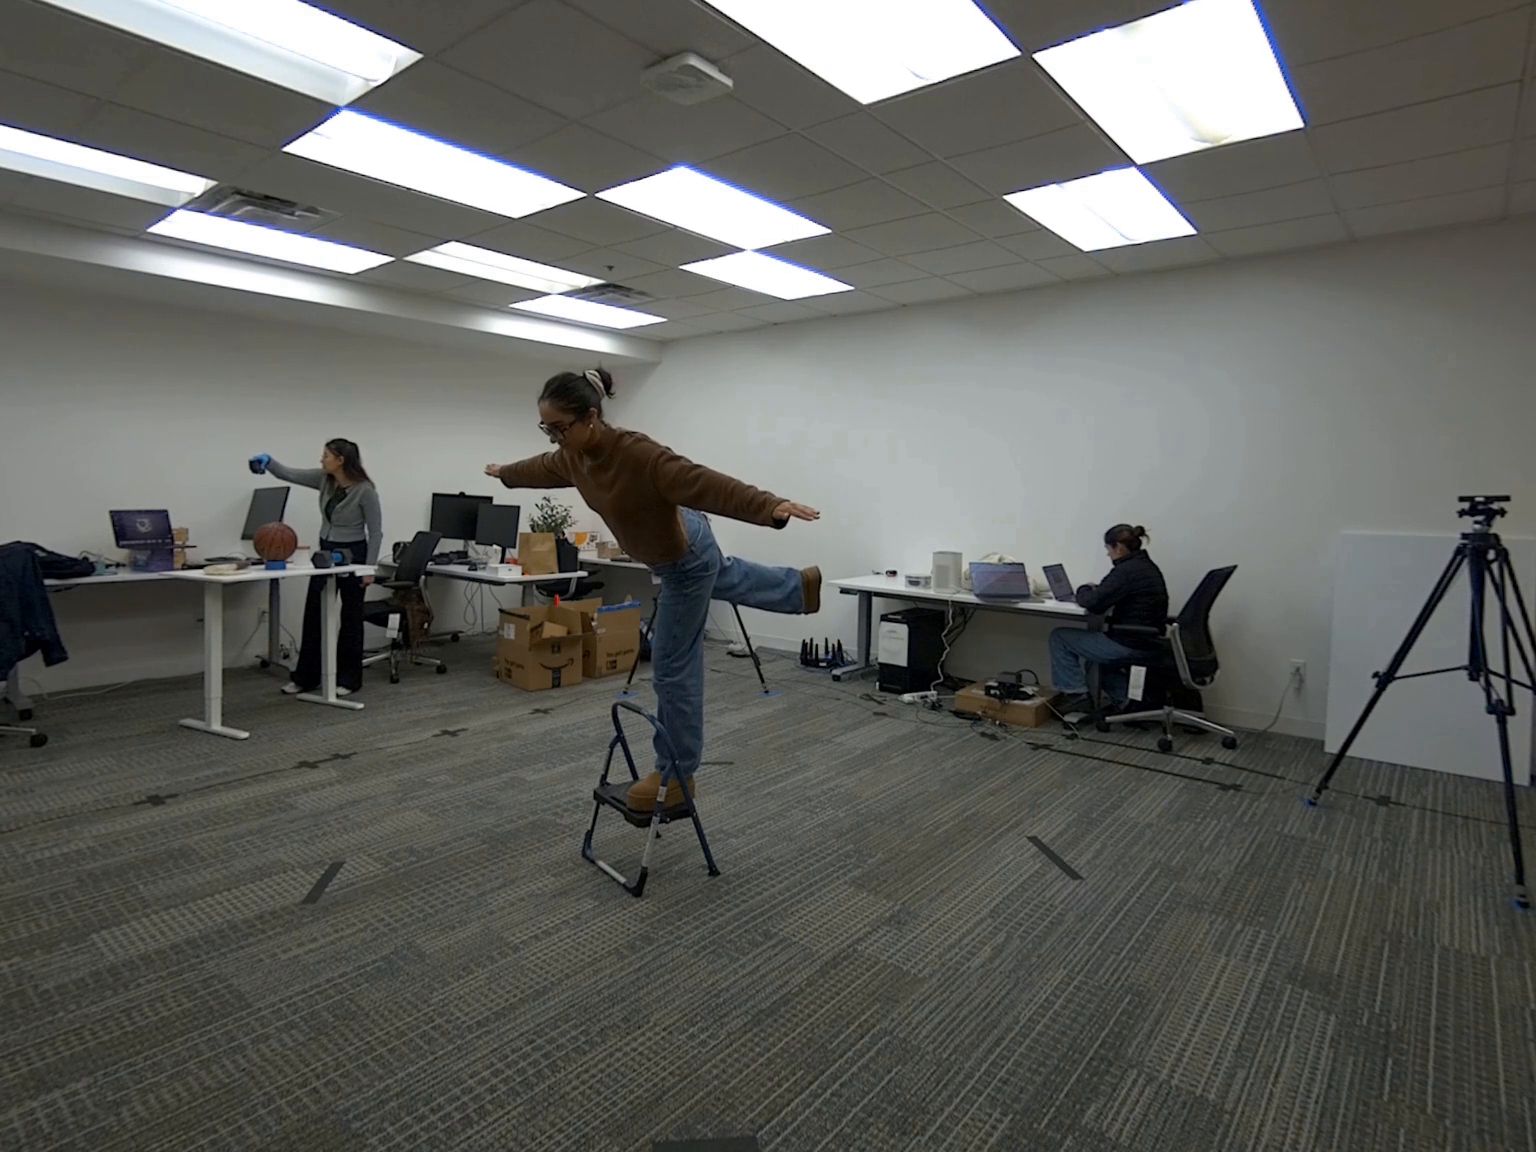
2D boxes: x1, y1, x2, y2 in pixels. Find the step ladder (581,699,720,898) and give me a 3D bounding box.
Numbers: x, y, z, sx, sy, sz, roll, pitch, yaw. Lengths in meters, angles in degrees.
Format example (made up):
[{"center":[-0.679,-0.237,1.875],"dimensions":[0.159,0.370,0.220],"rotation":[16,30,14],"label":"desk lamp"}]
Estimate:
[{"center":[-0.446,0.759,3.116],"dimensions":[0.339,0.604,0.445],"rotation":[-2,5,-39],"label":"step ladder"}]
